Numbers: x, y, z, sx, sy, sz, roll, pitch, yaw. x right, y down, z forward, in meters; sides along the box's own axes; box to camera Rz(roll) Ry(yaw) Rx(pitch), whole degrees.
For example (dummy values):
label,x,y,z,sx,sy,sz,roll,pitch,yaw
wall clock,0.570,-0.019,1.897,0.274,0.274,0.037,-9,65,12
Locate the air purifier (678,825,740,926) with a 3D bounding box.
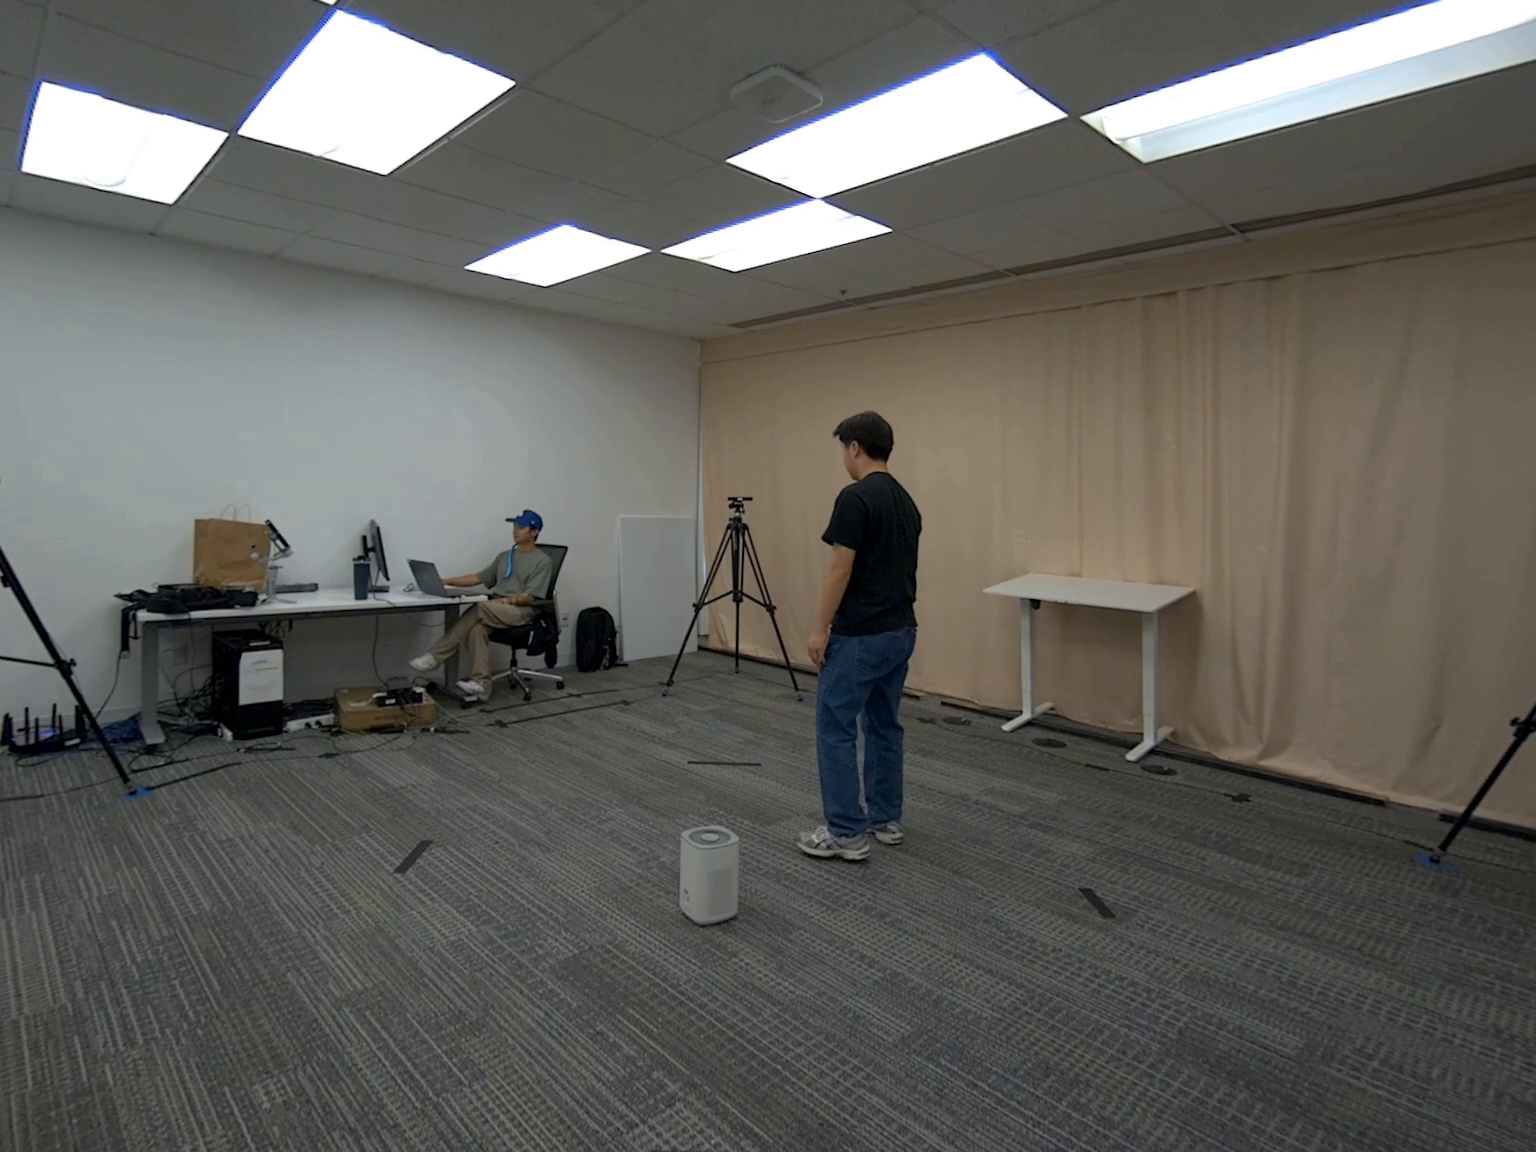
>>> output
label,x,y,z,sx,sy,sz,roll,pitch,yaw
air purifier,-0.200,0.991,2.815,0.168,0.265,0.175,-1,4,-35
